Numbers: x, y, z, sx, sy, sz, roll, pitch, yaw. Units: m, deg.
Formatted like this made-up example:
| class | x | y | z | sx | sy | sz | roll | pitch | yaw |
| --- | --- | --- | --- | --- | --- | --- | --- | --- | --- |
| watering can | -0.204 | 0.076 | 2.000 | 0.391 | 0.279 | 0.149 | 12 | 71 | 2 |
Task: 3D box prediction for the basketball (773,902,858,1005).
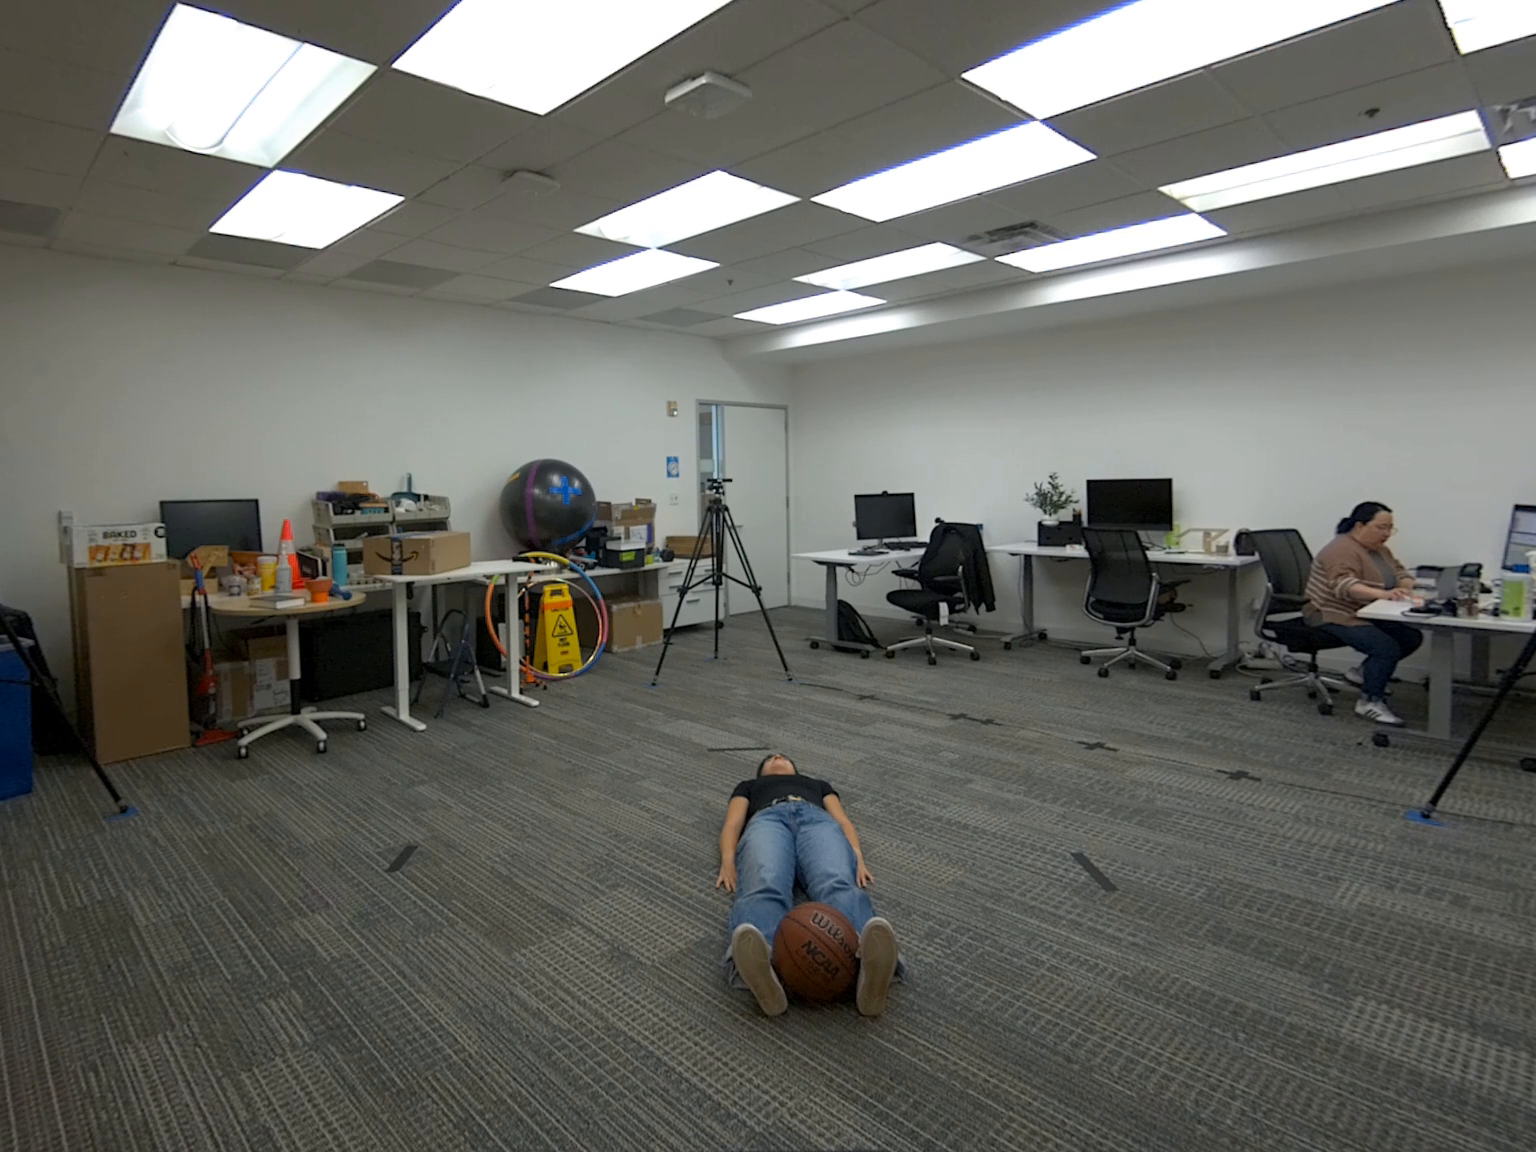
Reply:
| class | x | y | z | sx | sy | sz | roll | pitch | yaw |
| --- | --- | --- | --- | --- | --- | --- | --- | --- | --- |
| basketball | 0.137 | 1.015 | 2.311 | 0.236 | 0.235 | 0.237 | -1 | 5 | -2 |
